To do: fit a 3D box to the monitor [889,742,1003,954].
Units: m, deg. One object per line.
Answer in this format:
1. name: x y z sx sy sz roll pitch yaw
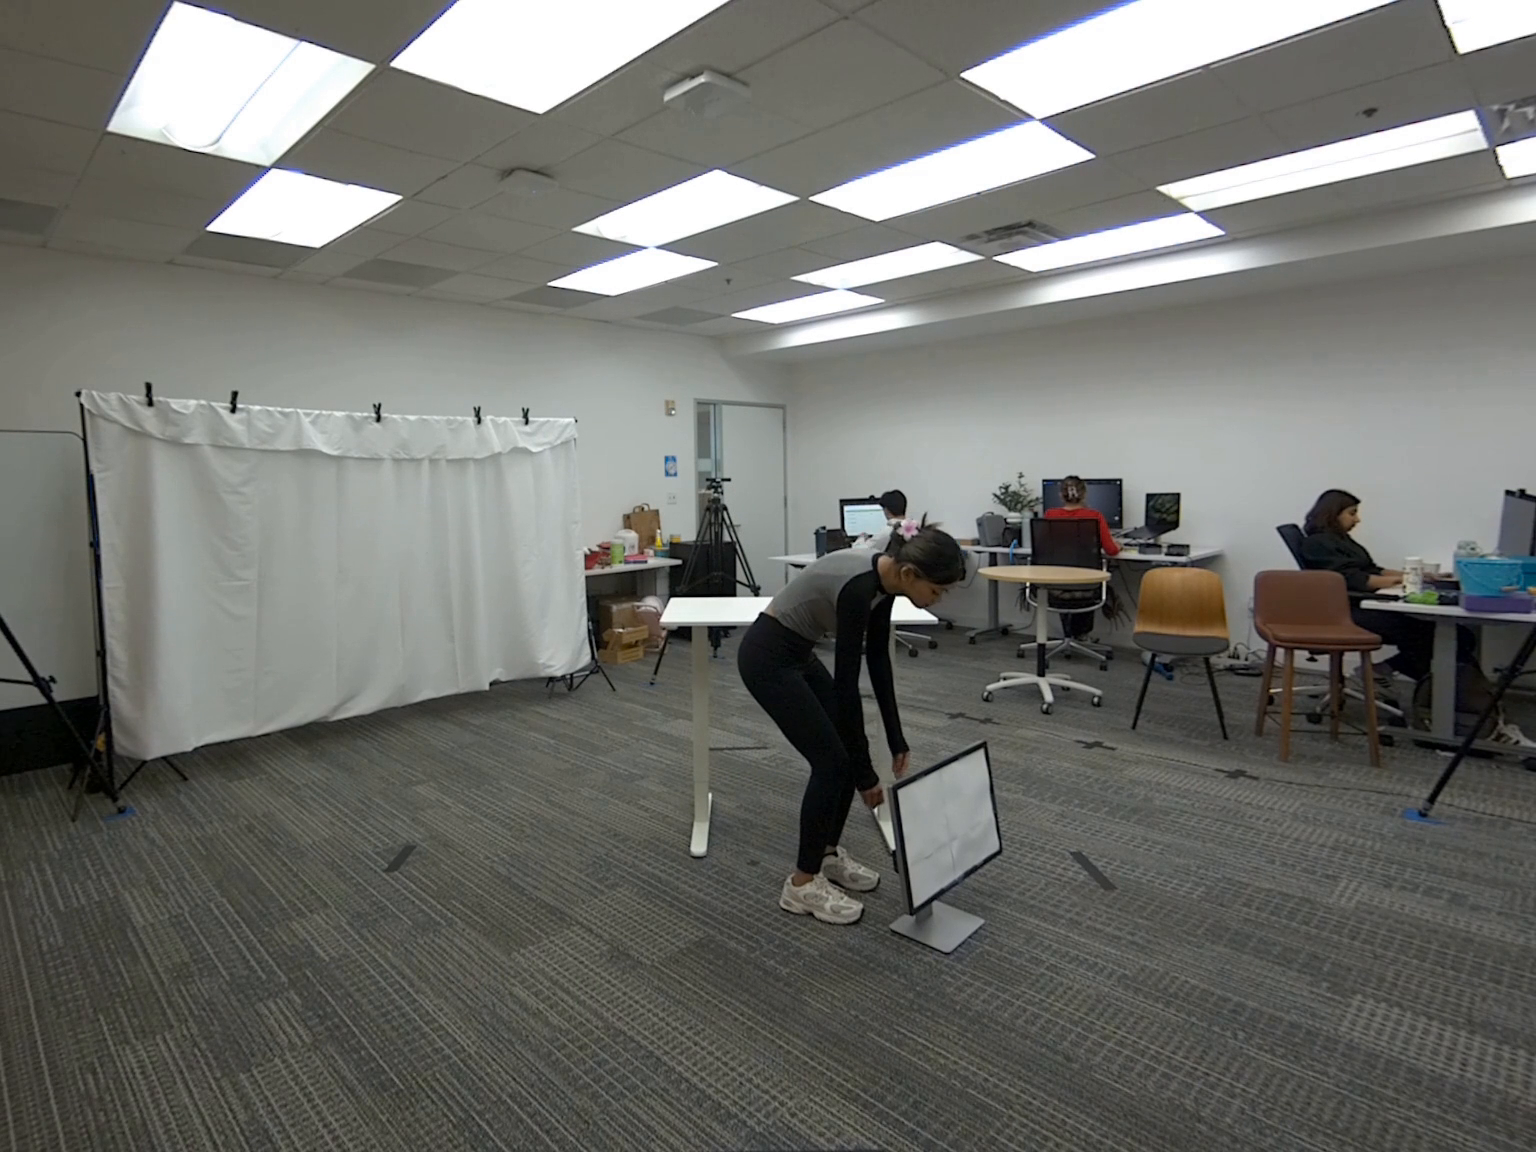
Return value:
1. monitor: 0.524 0.827 2.624 0.193 0.520 0.525 5 8 39
